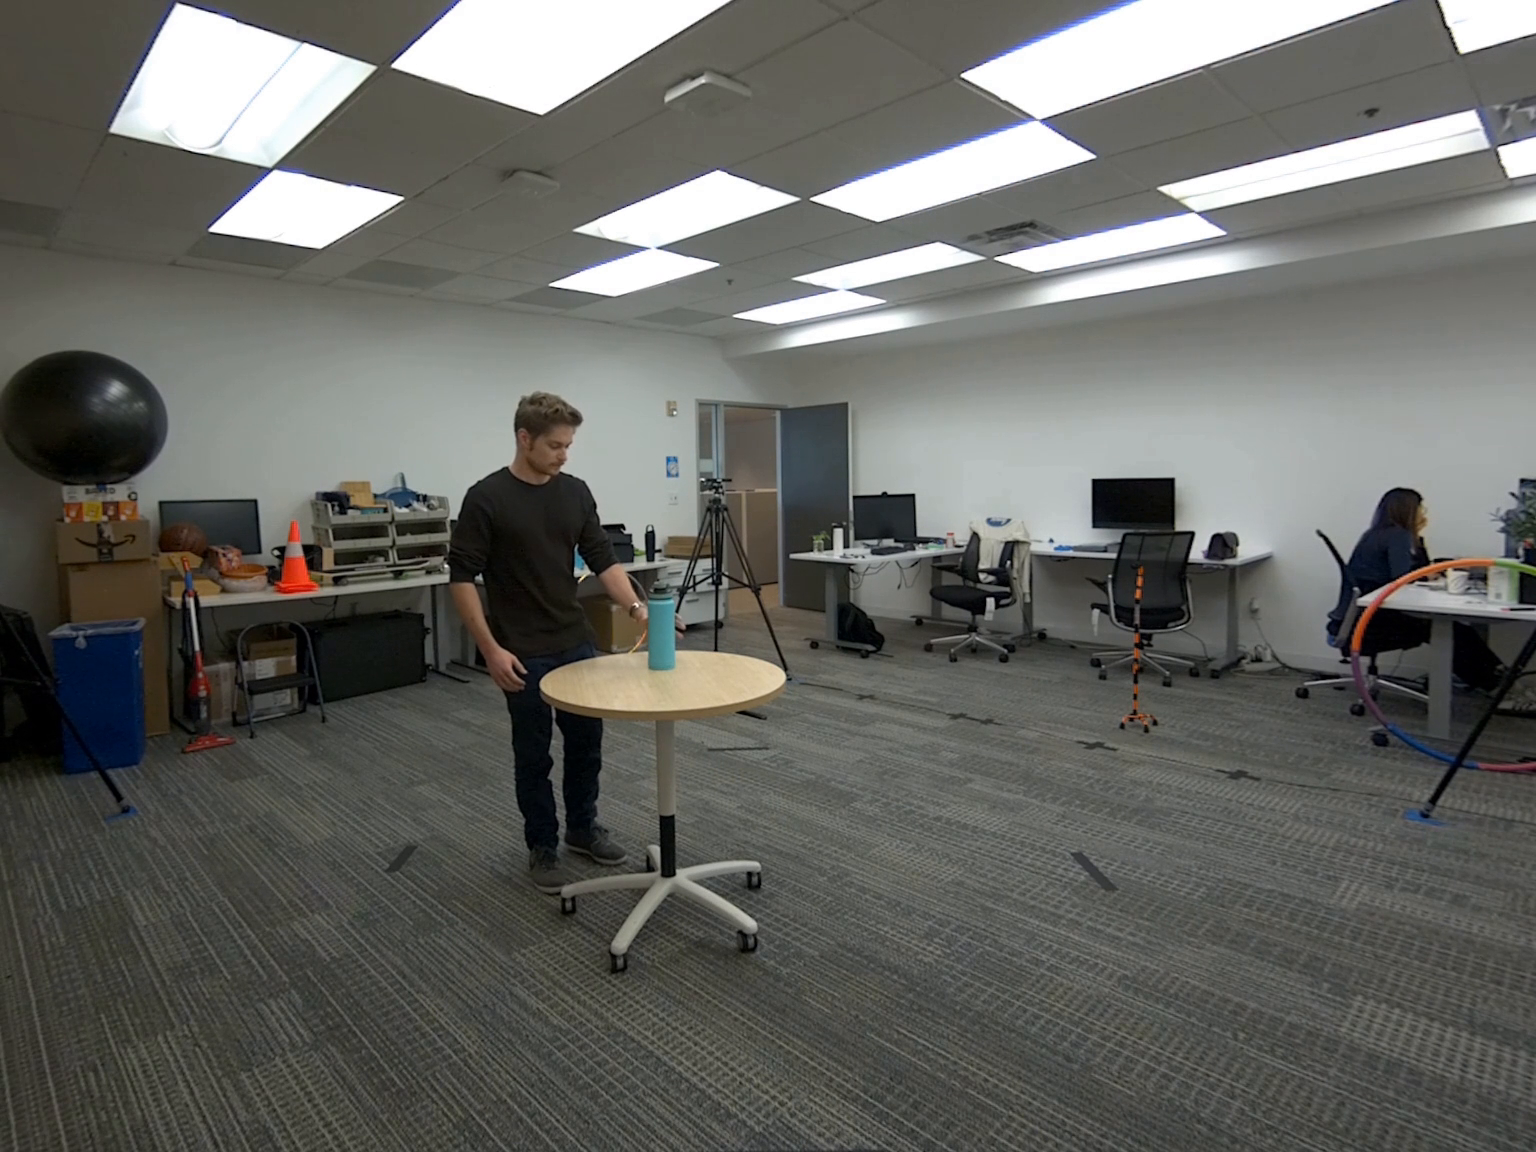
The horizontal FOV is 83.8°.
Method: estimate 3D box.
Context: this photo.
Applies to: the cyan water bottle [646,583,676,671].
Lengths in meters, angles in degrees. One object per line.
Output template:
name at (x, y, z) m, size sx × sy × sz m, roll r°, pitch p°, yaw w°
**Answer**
cyan water bottle at (-0.351, 0.161, 2.799) m, size 0.092 × 0.283 × 0.092 m, roll -2°, pitch 2°, yaw -2°
